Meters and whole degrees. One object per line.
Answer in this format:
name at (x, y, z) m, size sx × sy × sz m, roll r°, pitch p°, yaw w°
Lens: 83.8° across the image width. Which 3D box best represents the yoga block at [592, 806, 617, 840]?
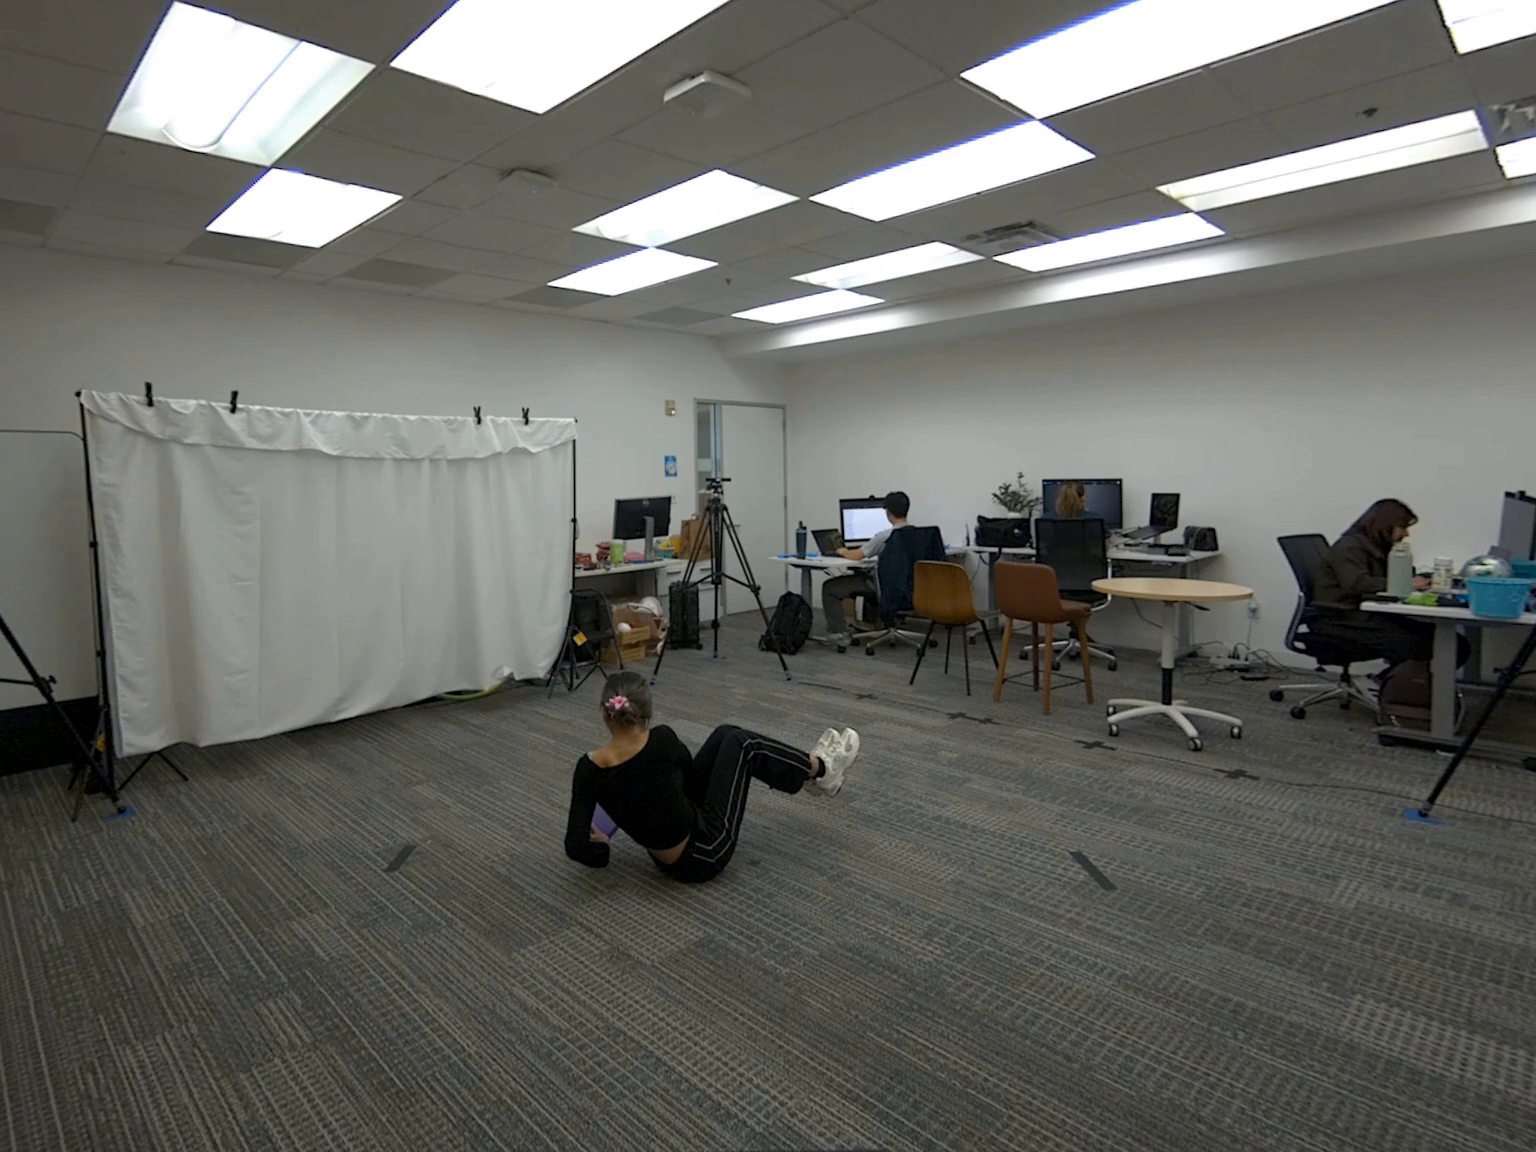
yoga block at (-0.608, 0.897, 3.160) m, size 0.152 × 0.075 × 0.228 m, roll 33°, pitch 41°, yaw 14°
